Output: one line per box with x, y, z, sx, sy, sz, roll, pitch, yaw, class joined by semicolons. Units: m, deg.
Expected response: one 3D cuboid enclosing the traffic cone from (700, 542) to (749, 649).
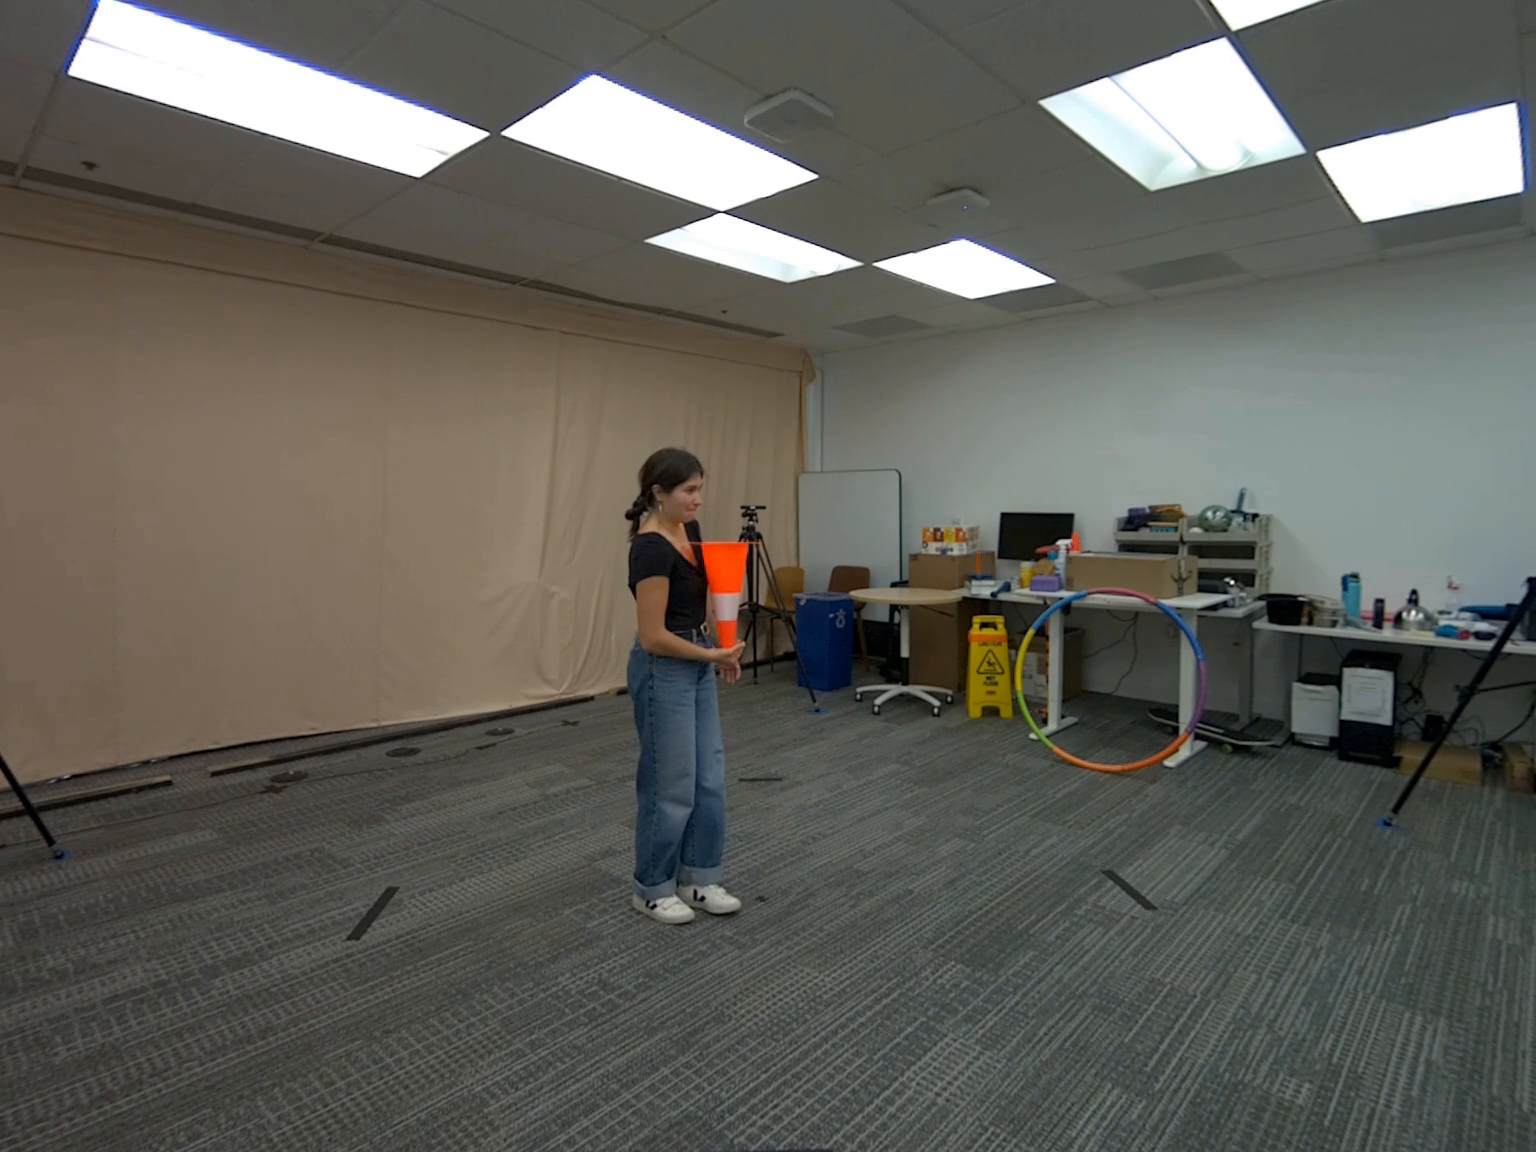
-0.143;0.089;2.809;0.206;0.383;0.202;-3;3;6;traffic cone
